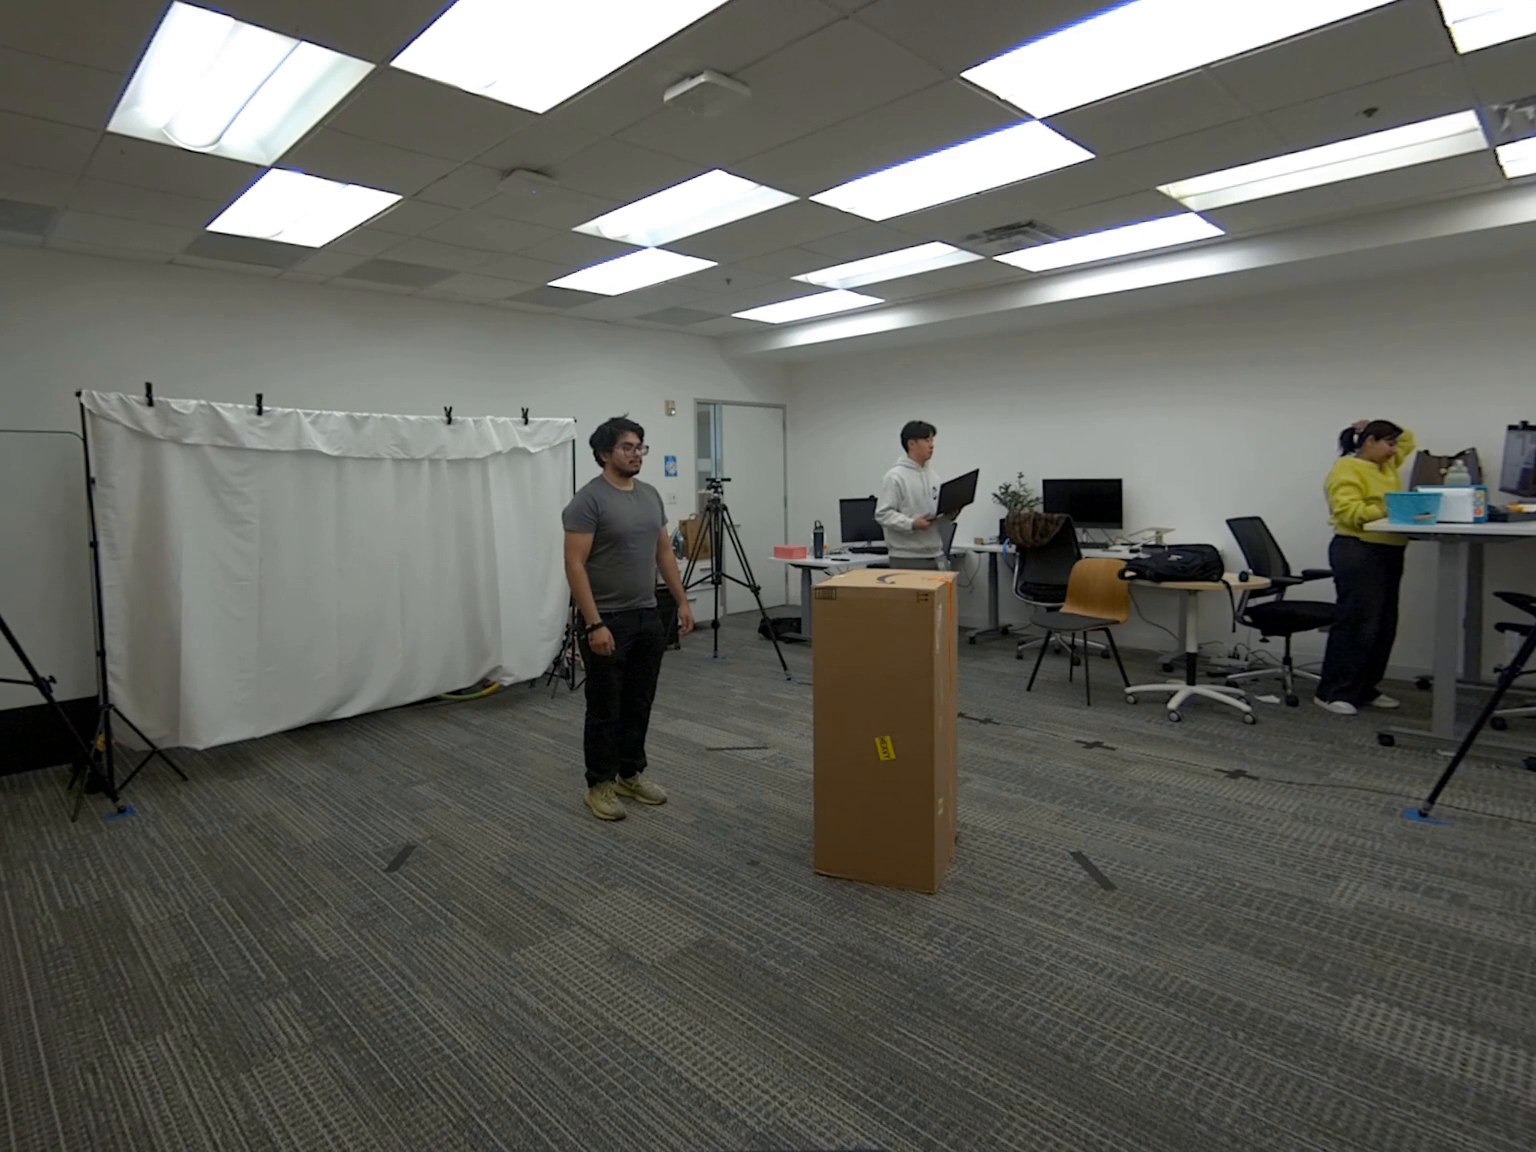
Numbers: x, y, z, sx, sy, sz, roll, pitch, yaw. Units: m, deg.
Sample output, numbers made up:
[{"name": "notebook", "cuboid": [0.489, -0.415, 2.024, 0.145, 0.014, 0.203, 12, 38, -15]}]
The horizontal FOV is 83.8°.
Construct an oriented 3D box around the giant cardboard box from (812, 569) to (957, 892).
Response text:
[{"name": "giant cardboard box", "cuboid": [0.453, 0.520, 3.153, 0.456, 1.024, 0.574, 0, 4, 21]}]
